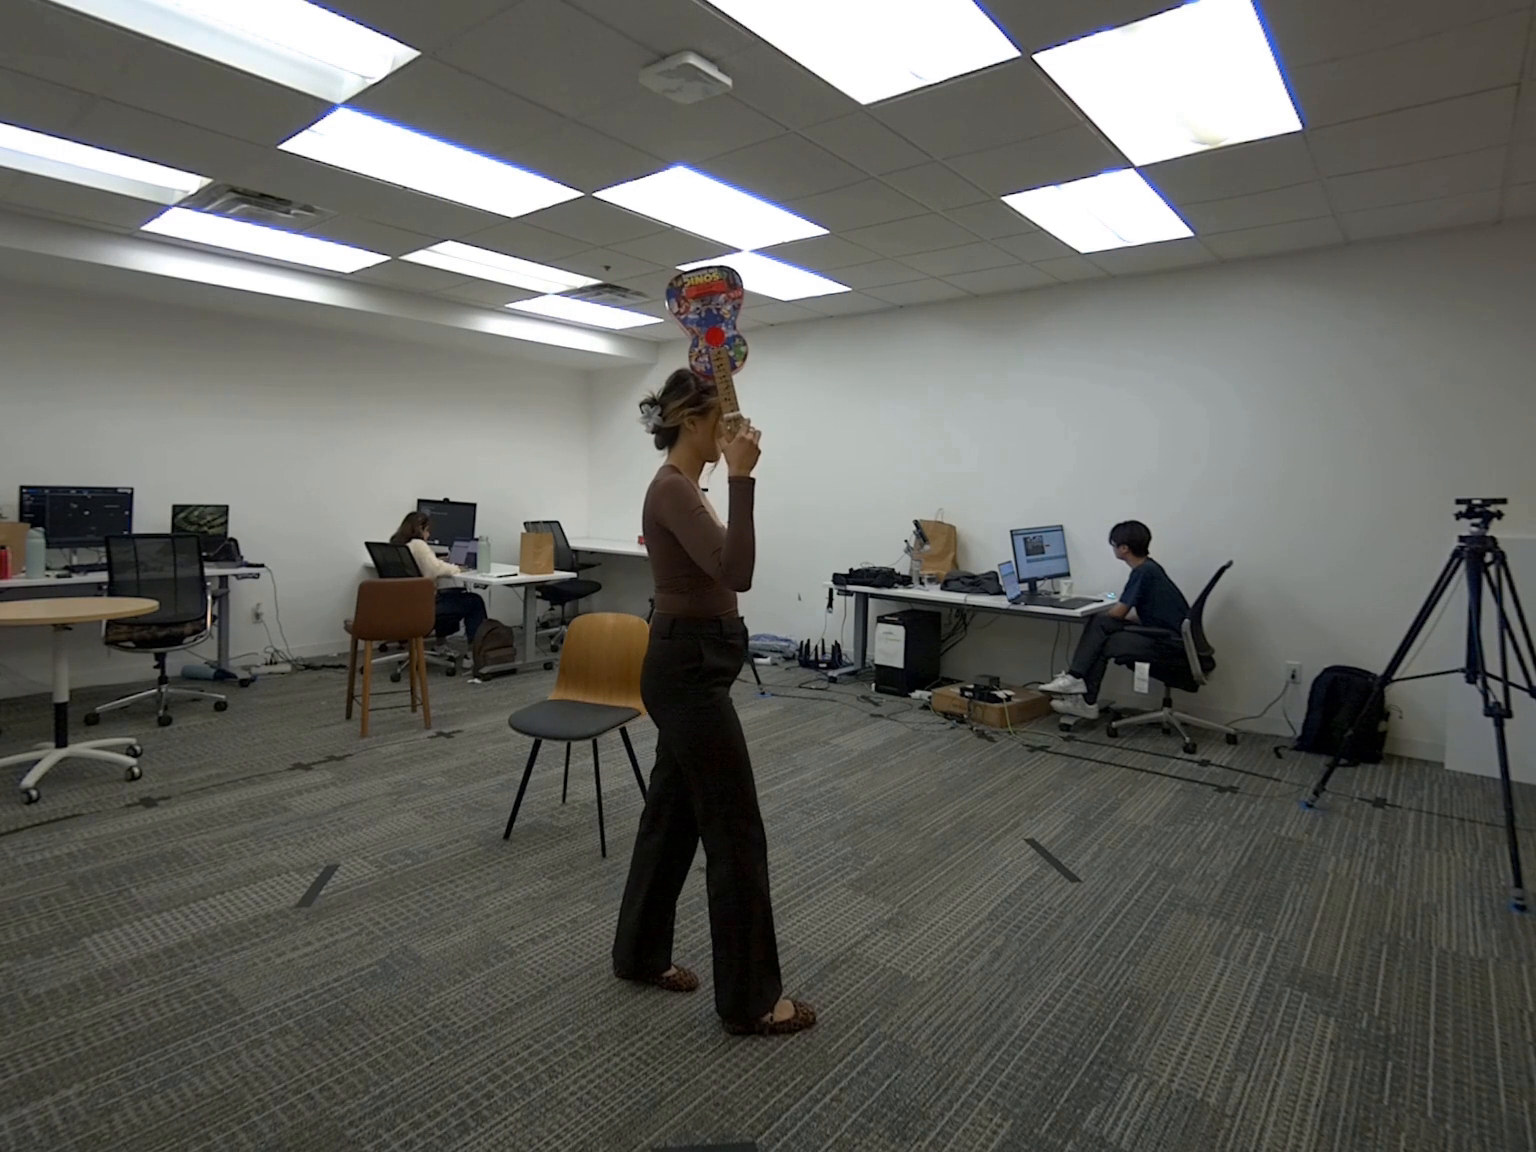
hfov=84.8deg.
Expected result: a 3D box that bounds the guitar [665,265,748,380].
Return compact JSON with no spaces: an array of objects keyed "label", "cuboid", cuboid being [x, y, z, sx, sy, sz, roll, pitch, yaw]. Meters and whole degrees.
[{"label":"guitar","cuboid":[-0.151,-0.503,2.084,0.193,0.497,0.071,-3,0,0]}]
